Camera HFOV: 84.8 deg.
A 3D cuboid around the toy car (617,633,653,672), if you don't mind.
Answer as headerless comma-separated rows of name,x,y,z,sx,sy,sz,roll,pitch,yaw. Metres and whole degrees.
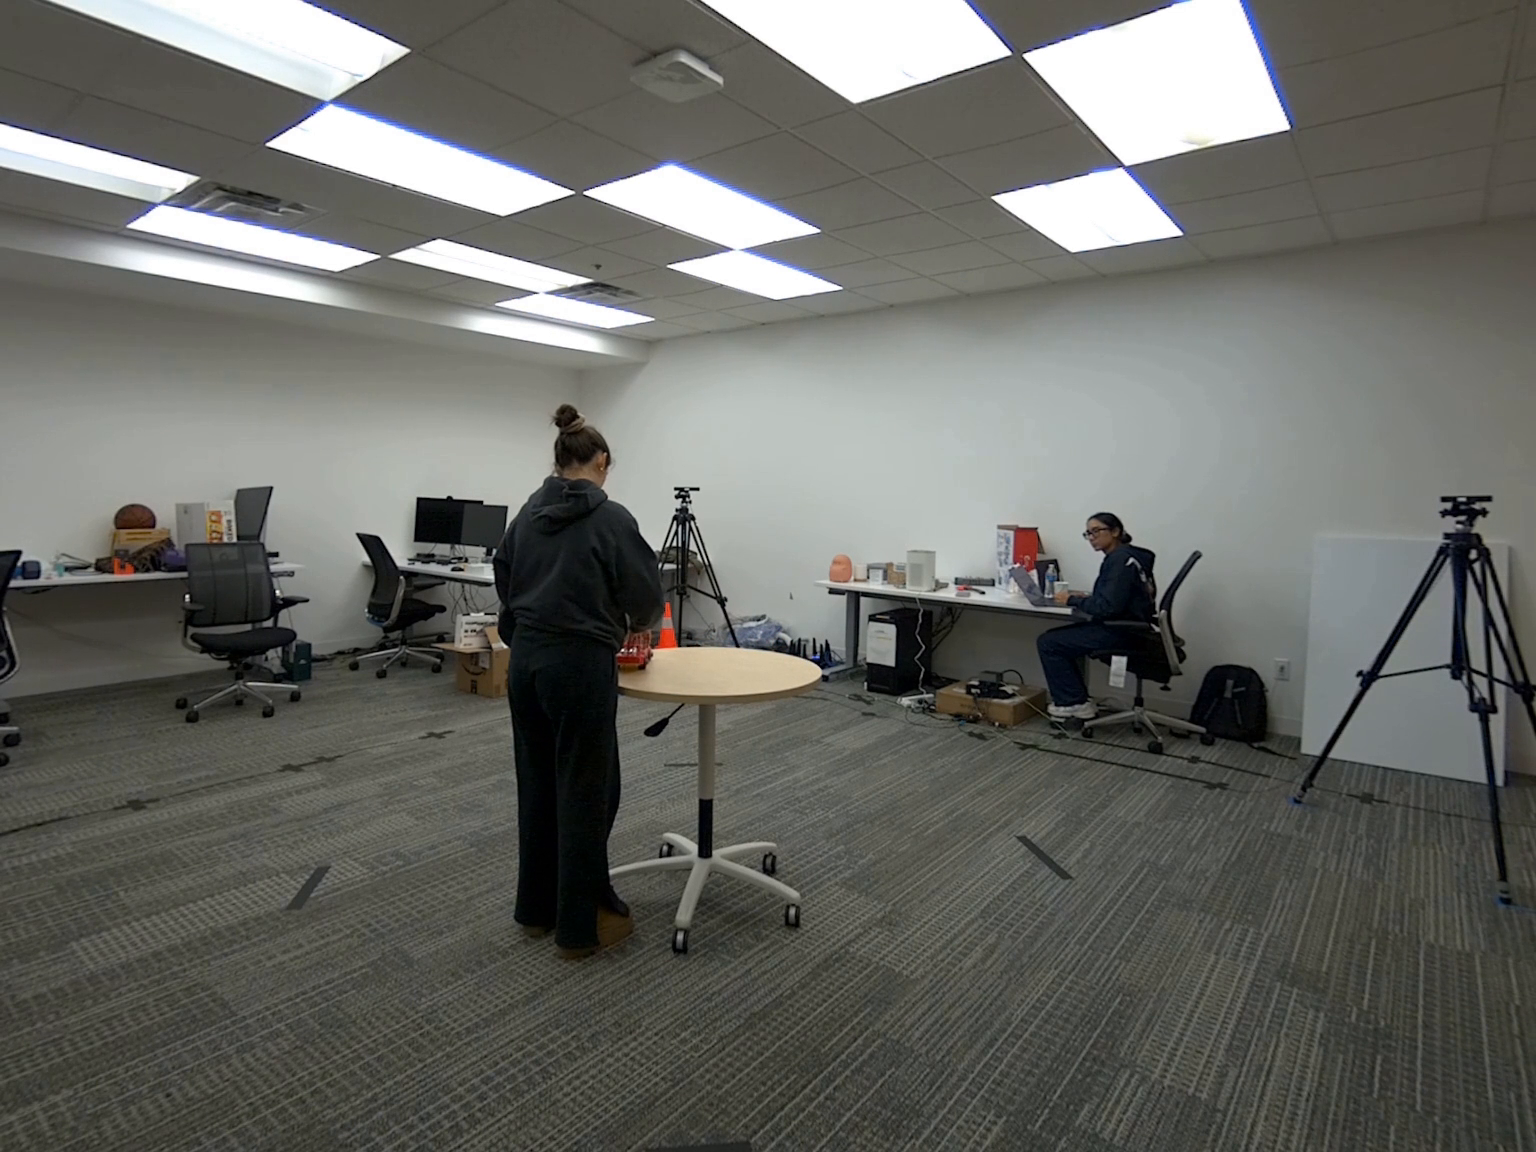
toy car,-0.468,0.271,2.889,0.131,0.083,0.253,1,-3,2
